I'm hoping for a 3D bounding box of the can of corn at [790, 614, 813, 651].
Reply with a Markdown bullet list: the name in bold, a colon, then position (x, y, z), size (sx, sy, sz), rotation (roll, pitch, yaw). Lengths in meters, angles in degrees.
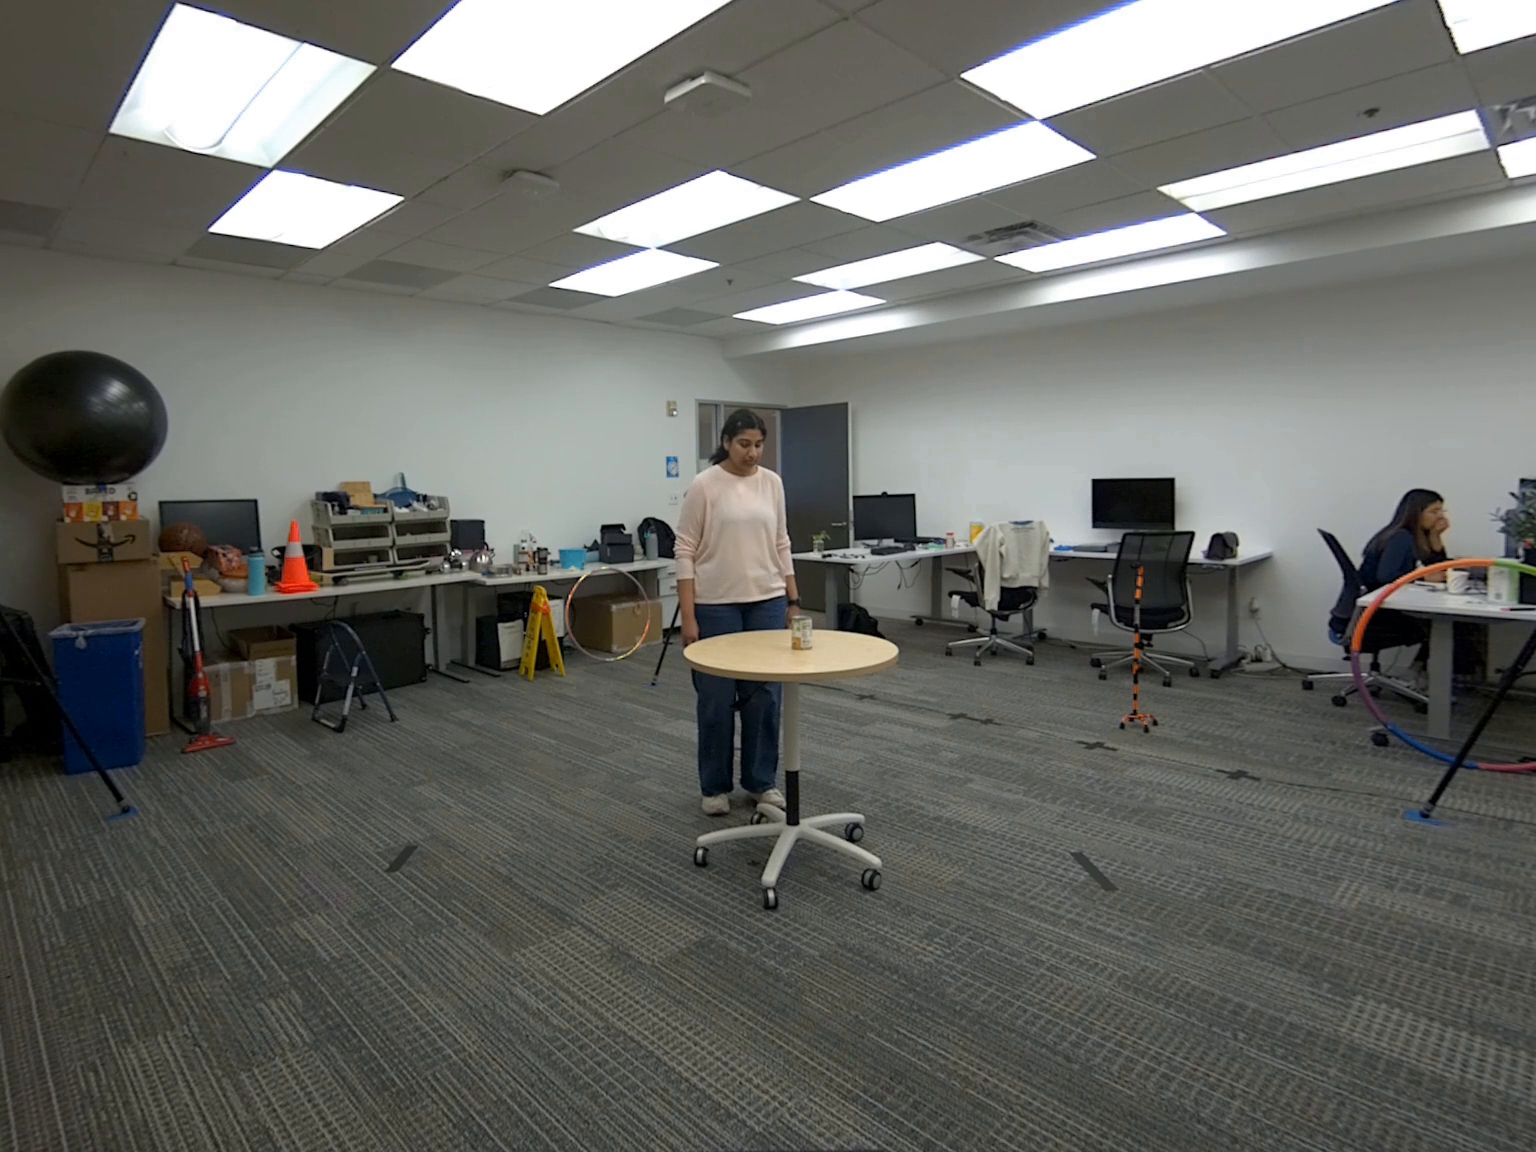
- **can of corn**: position (0.116, 0.204, 3.078), size (0.074, 0.110, 0.074), rotation (-2, 4, -1)
